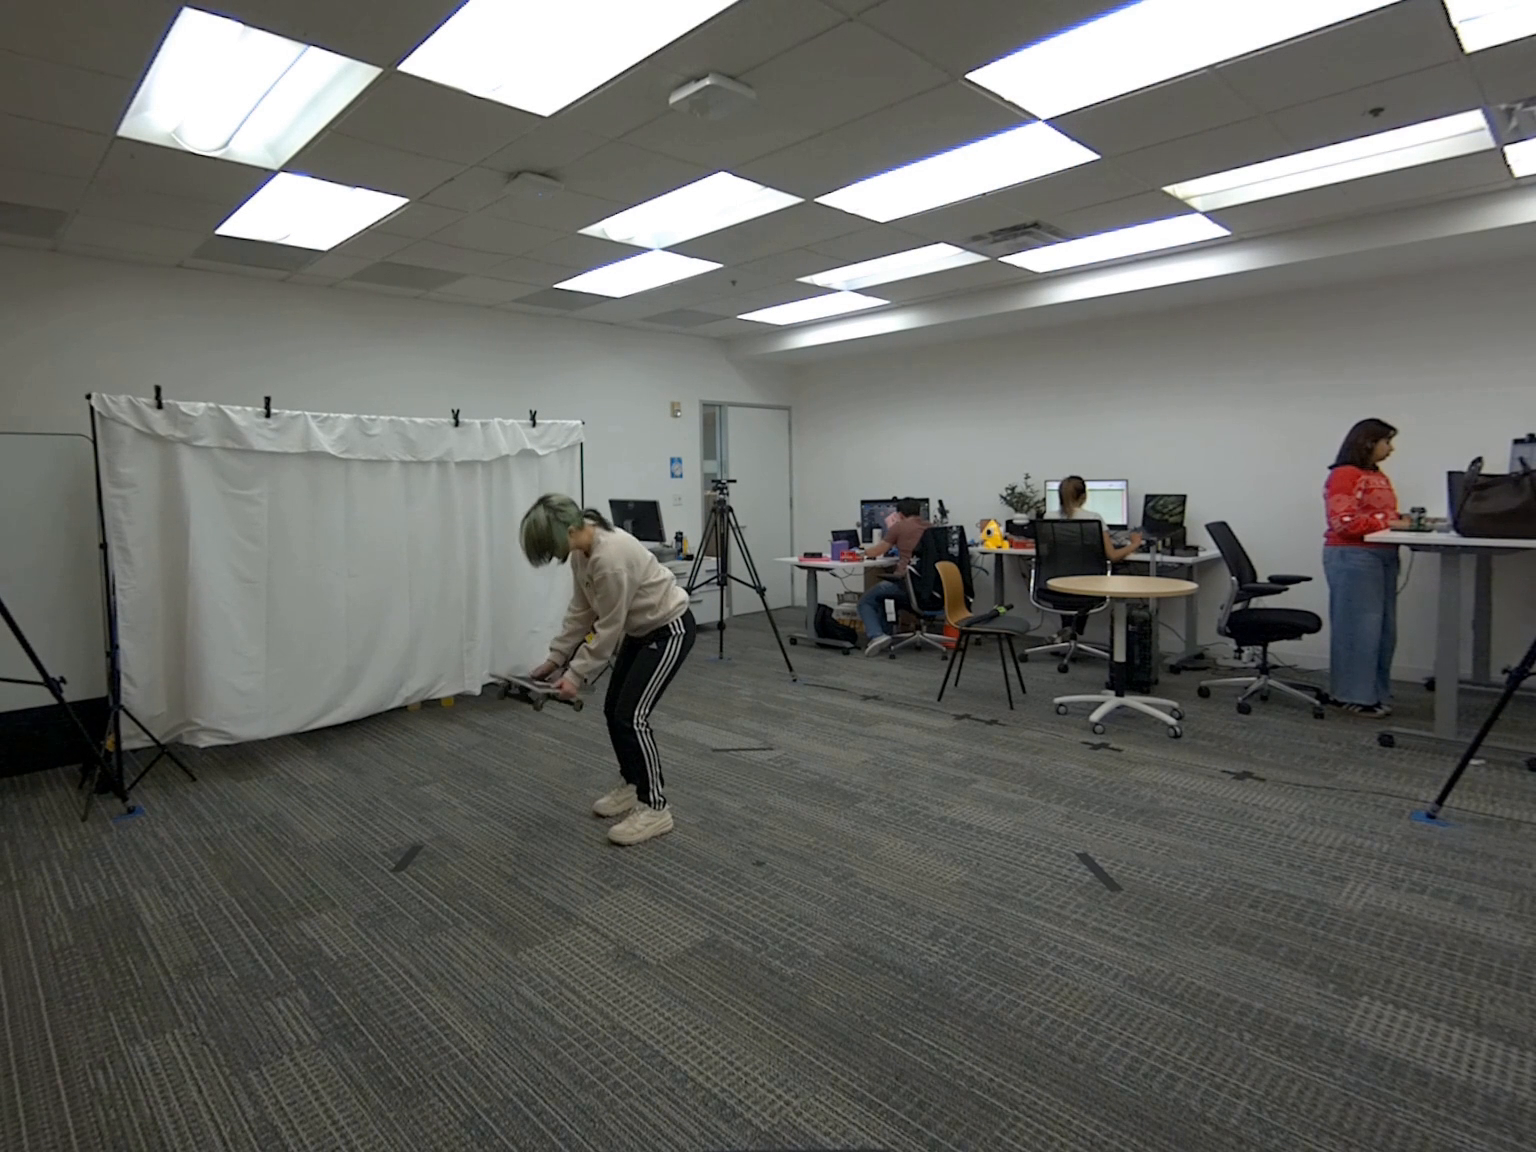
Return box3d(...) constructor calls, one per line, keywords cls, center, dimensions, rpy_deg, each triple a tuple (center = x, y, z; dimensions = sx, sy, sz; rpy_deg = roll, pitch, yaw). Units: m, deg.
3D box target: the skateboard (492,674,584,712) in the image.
box3d(cls="skateboard", center=(-0.885, 0.465, 3.387), dimensions=(0.196, 0.111, 0.771), rpy_deg=(13, -6, 11))
